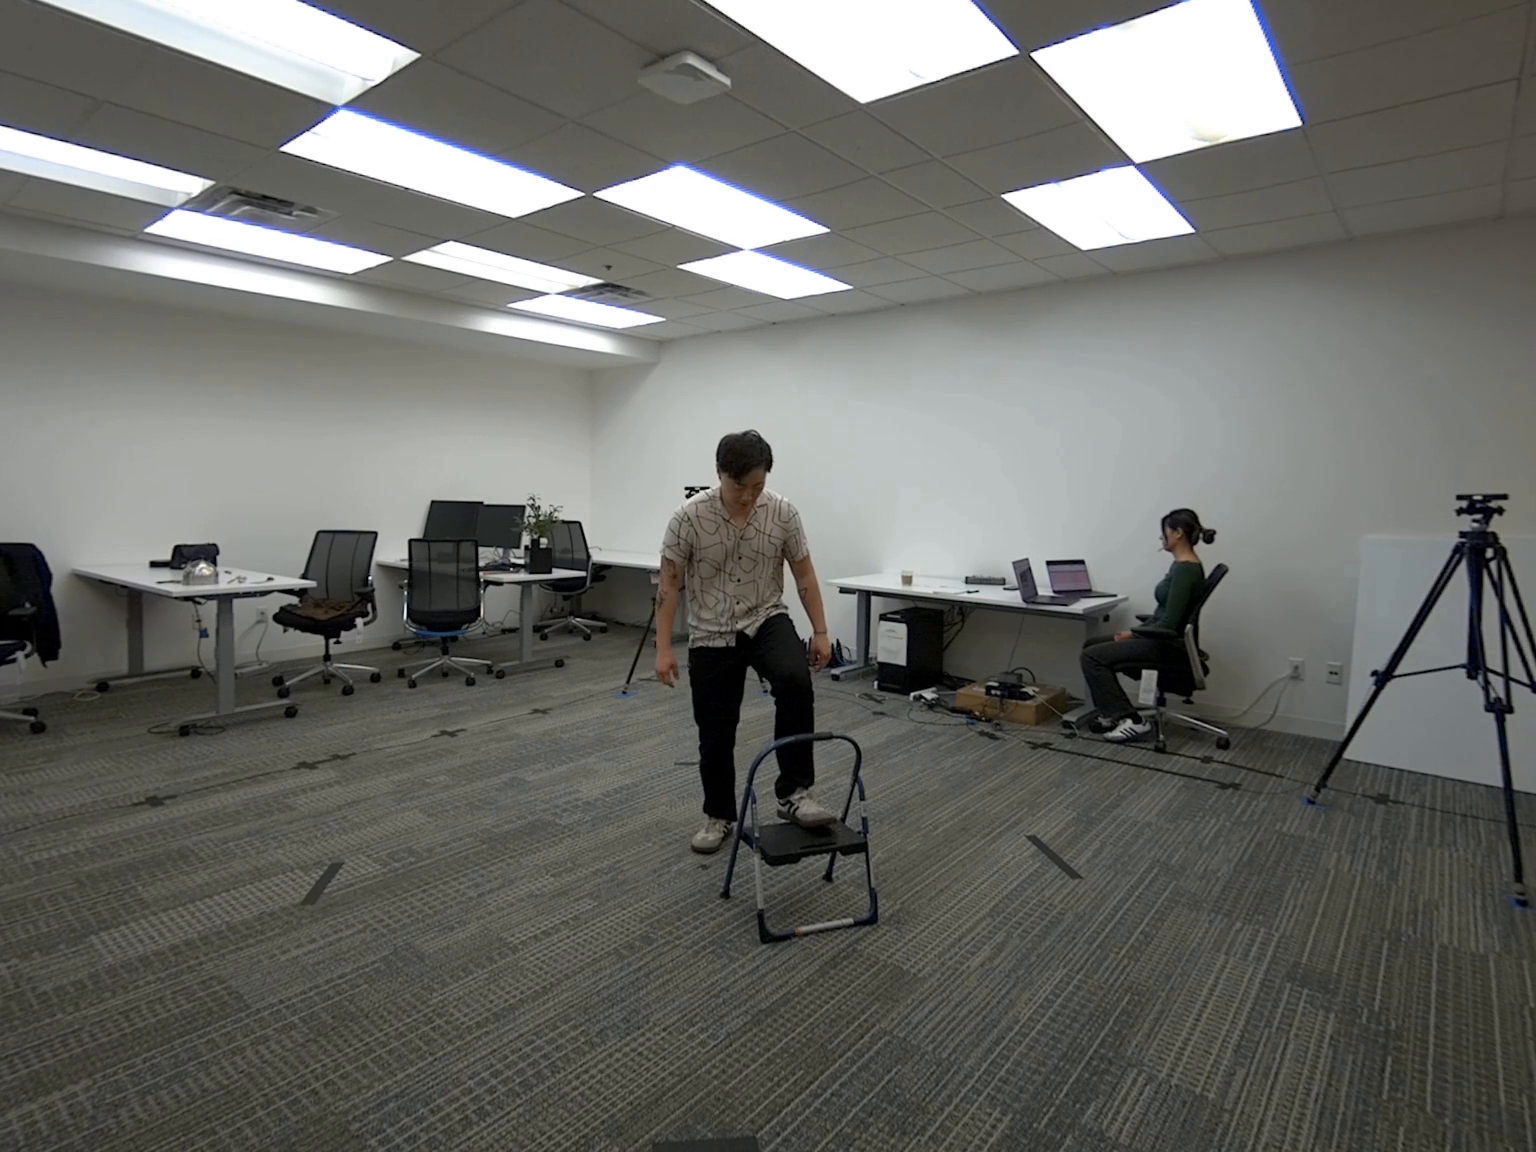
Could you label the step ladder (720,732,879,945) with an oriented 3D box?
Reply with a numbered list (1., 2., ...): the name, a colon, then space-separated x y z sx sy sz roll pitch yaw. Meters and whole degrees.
1. step ladder: 0.098 0.794 2.806 0.421 0.604 0.358 -1 4 -23
